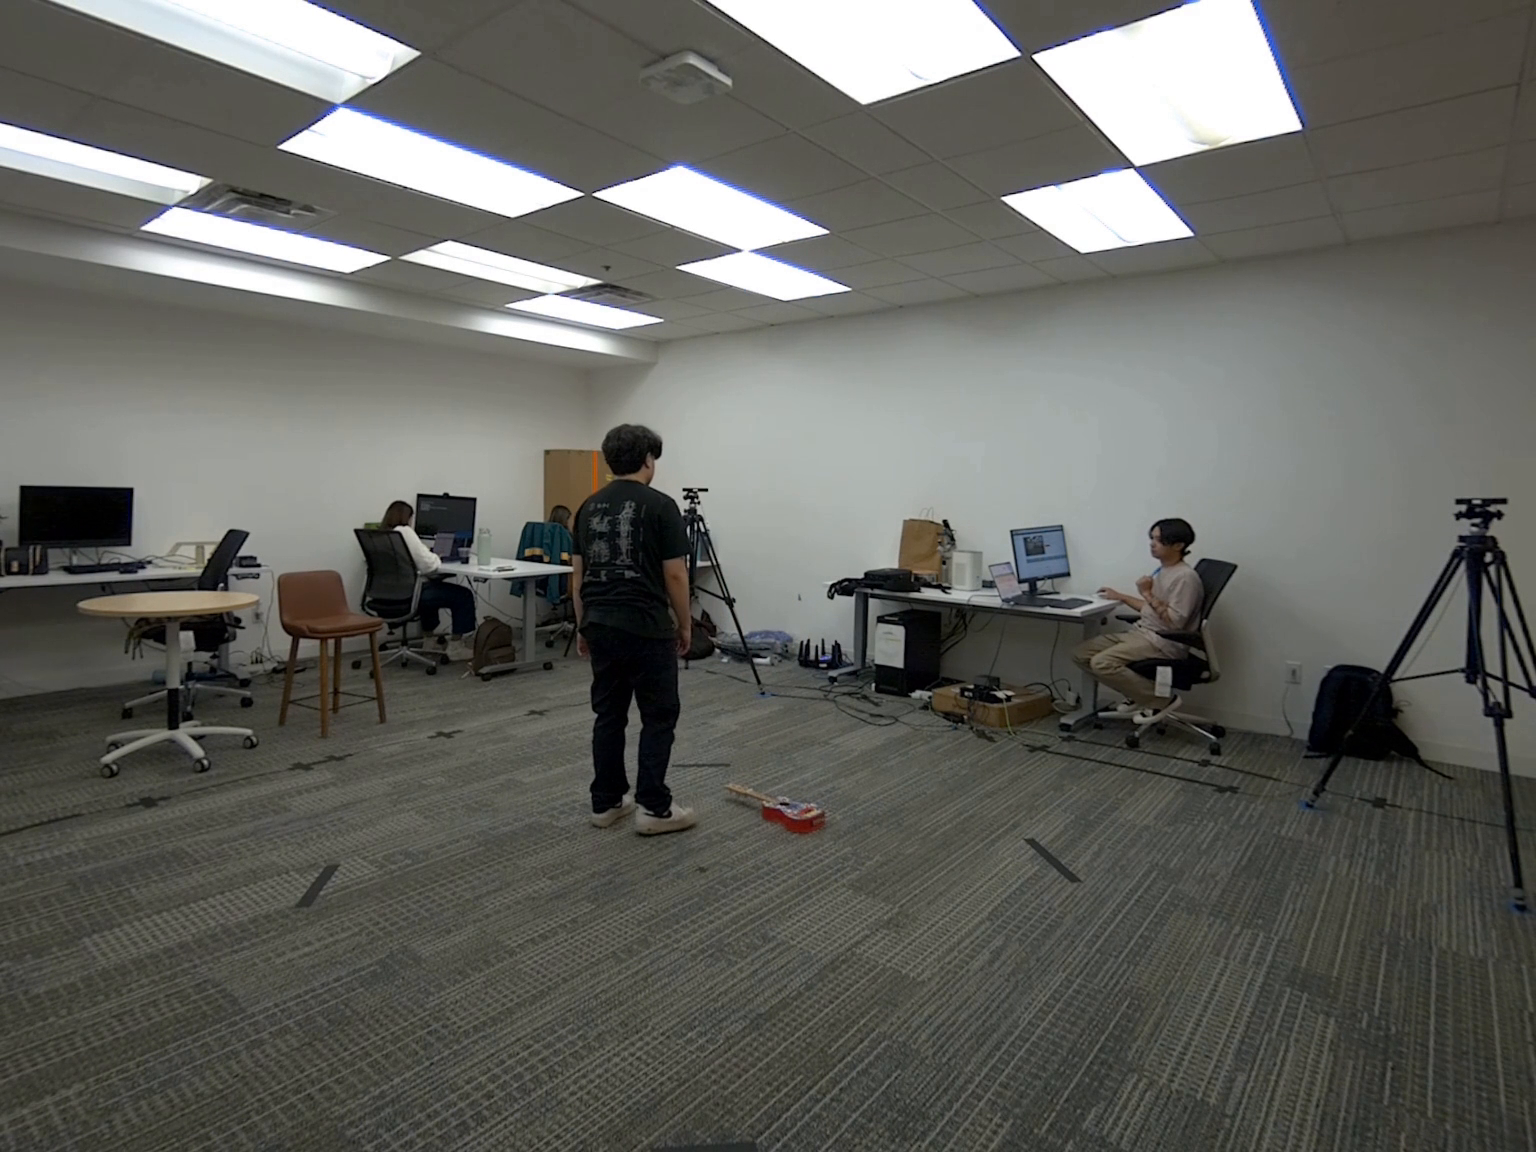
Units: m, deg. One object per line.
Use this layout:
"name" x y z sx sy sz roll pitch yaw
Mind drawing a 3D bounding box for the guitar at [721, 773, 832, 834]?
"guitar" 0.026 0.982 3.674 0.187 0.070 0.515 -4 7 -40
